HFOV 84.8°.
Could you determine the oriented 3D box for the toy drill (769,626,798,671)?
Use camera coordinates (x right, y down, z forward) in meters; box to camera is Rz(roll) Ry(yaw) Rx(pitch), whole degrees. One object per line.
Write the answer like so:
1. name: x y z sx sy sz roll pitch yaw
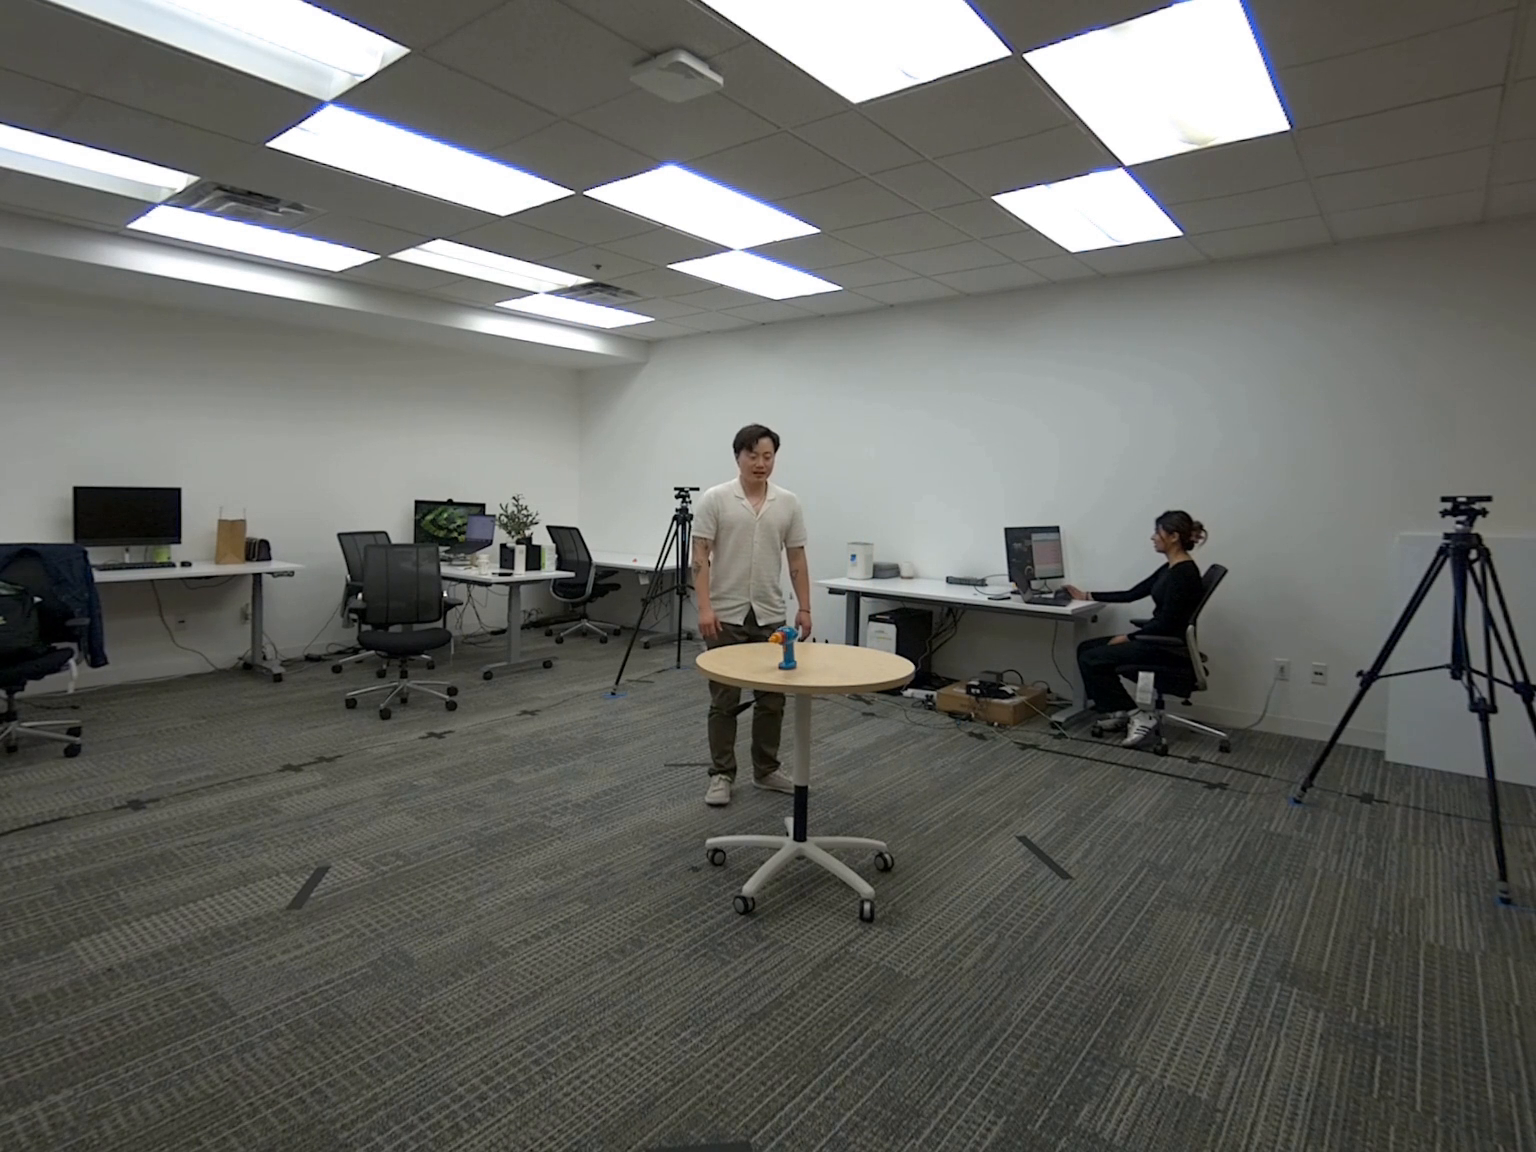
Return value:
1. toy drill: 0.040 0.240 2.856 0.063 0.145 0.165 0 5 30
